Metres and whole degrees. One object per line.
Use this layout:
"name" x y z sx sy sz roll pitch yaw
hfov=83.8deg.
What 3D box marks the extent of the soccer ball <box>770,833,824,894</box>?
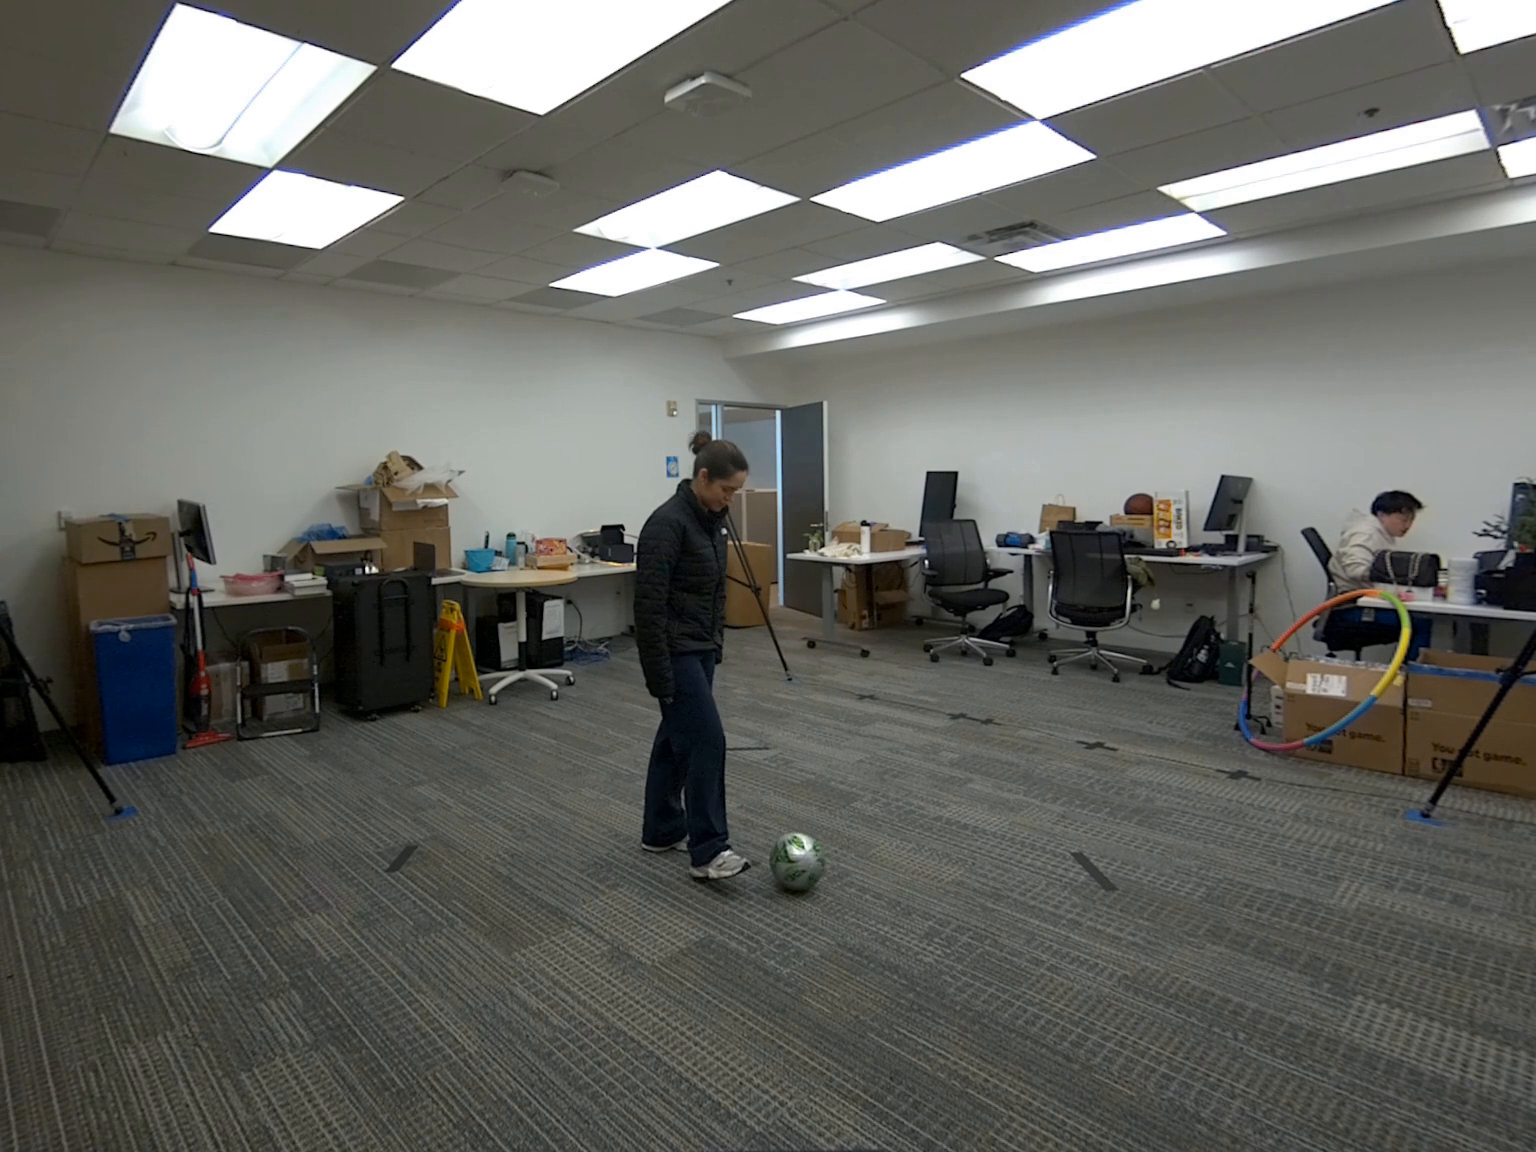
"soccer ball" 0.104 0.966 2.904 0.187 0.187 0.188 -1 5 -2
